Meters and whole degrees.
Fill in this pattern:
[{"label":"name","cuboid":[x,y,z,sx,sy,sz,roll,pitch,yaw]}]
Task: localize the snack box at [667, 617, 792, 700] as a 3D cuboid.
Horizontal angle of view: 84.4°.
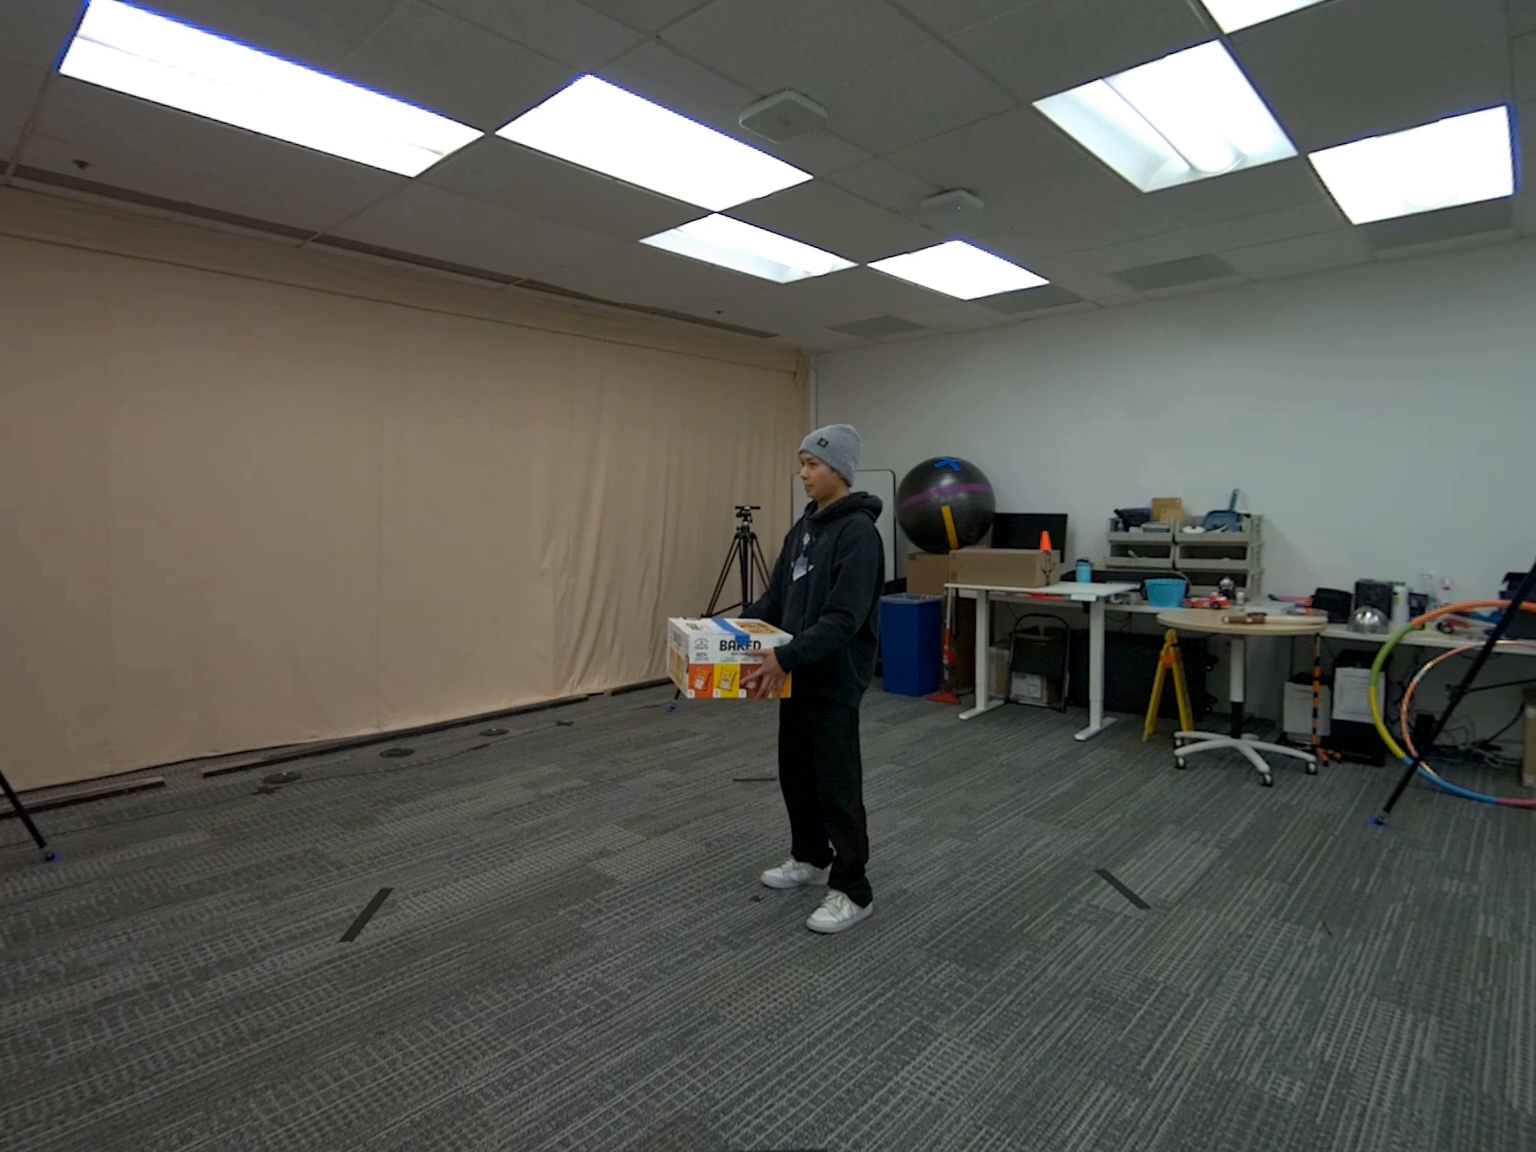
[{"label":"snack box","cuboid":[-0.142,0.272,2.855,0.335,0.205,0.412,3,3,-15]}]
